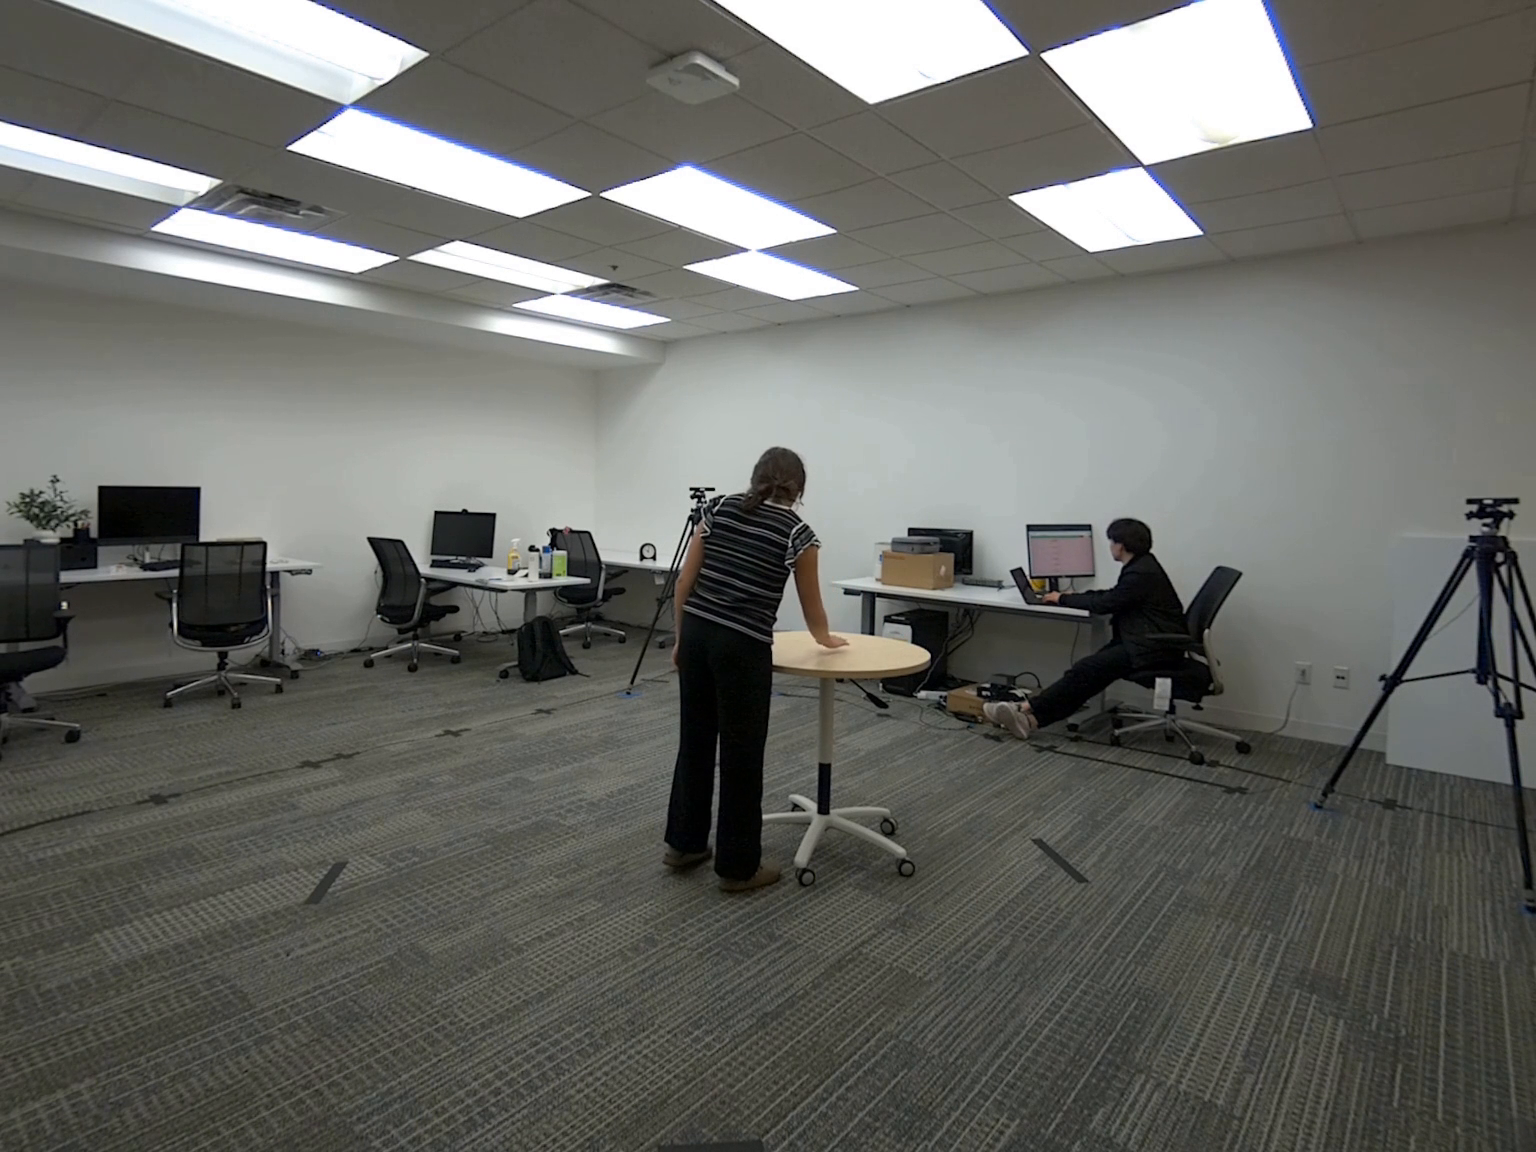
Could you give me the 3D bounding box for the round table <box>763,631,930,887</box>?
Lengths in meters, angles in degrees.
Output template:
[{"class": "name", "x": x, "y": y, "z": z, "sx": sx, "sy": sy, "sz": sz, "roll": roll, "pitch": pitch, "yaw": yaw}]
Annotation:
[{"class": "round table", "x": 0.217, "y": 0.670, "z": 3.295, "sx": 0.763, "sy": 0.791, "sz": 0.768, "roll": 1, "pitch": 5, "yaw": -2}]
